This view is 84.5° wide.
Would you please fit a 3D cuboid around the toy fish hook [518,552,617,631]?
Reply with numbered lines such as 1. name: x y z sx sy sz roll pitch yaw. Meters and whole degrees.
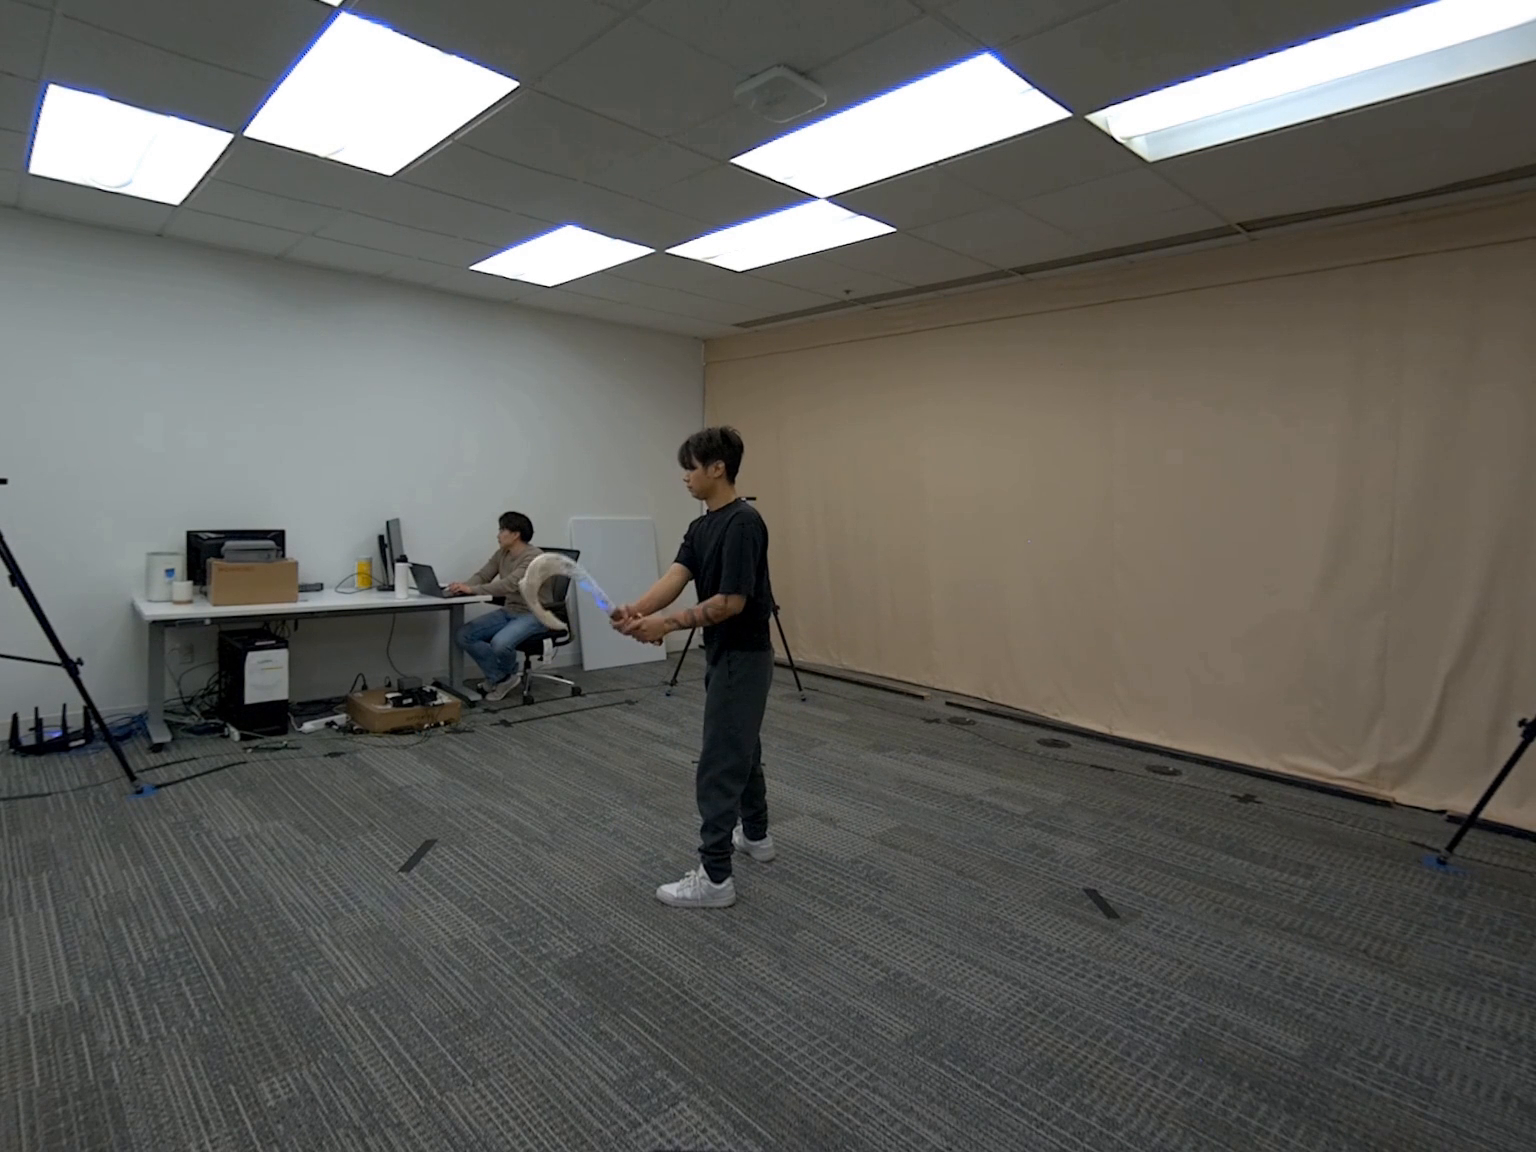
1. toy fish hook: -0.551 0.129 2.707 0.496 0.226 0.049 37 -25 -20
